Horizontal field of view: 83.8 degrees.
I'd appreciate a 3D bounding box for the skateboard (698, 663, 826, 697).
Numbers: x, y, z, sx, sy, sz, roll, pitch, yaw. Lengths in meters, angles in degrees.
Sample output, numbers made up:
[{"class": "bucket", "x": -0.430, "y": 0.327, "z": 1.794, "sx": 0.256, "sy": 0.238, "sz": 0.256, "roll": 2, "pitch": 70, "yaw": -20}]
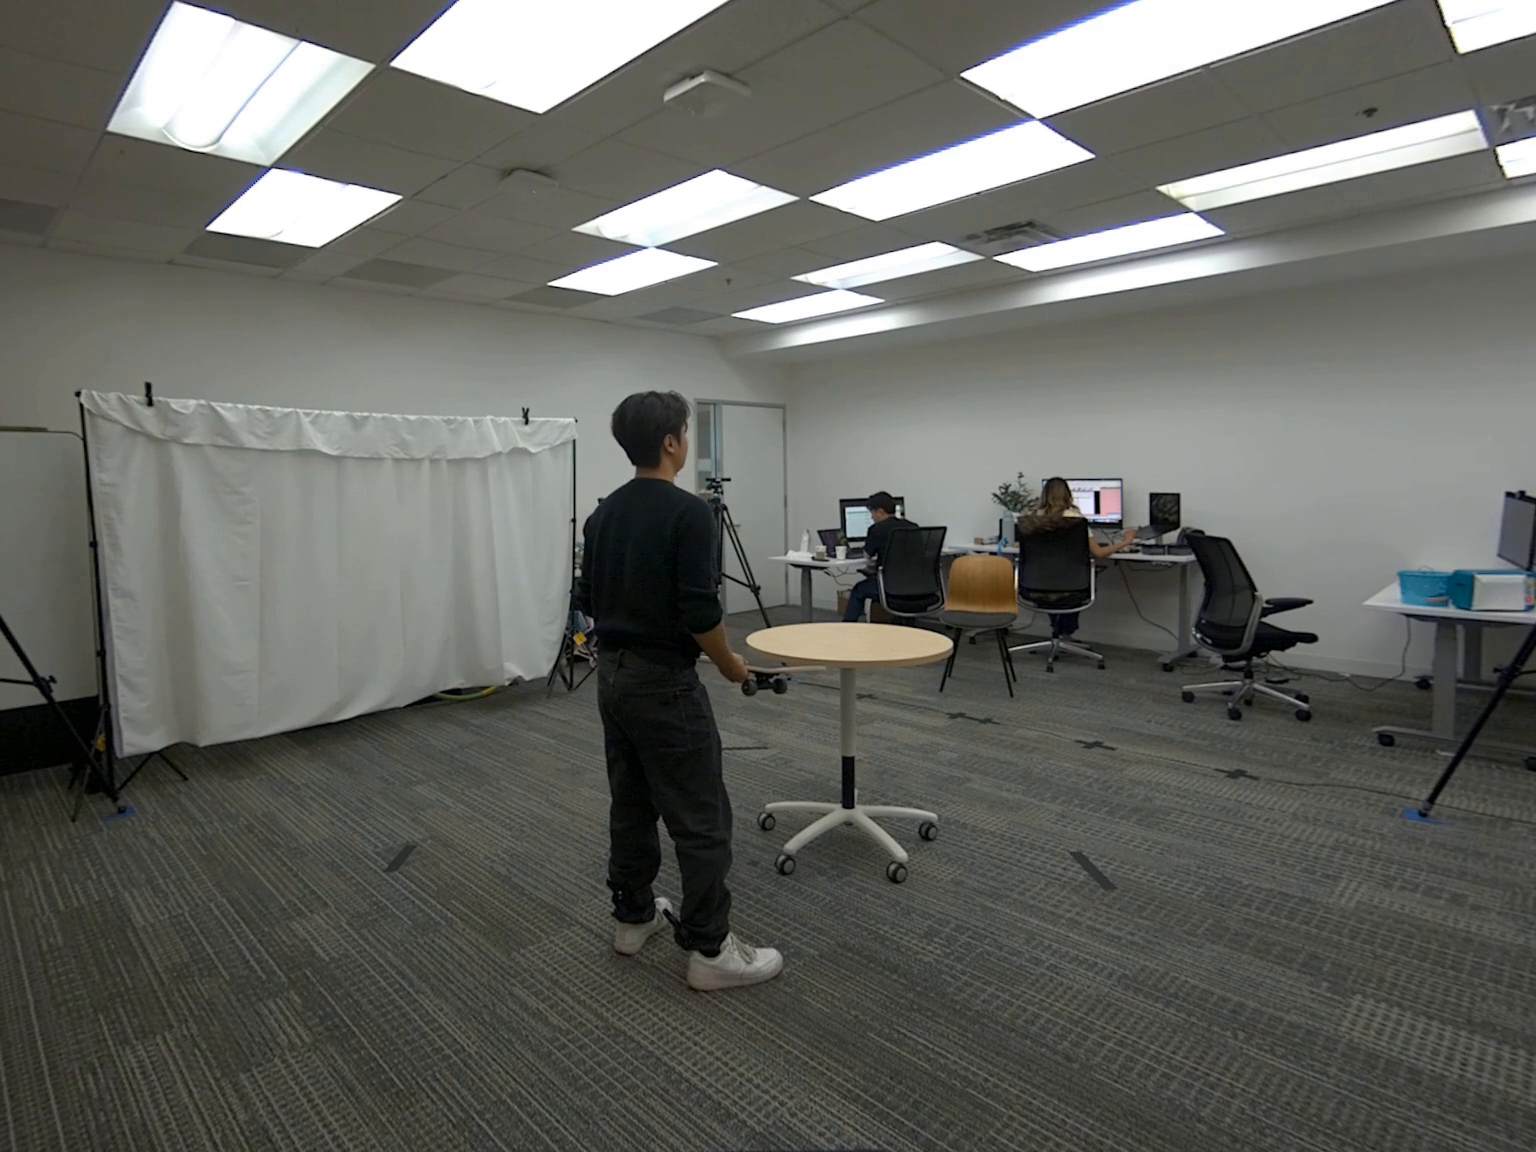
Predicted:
[{"class": "skateboard", "x": -0.155, "y": 0.298, "z": 2.732, "sx": 0.809, "sy": 0.110, "sz": 0.187, "roll": 4, "pitch": -3, "yaw": 39}]
